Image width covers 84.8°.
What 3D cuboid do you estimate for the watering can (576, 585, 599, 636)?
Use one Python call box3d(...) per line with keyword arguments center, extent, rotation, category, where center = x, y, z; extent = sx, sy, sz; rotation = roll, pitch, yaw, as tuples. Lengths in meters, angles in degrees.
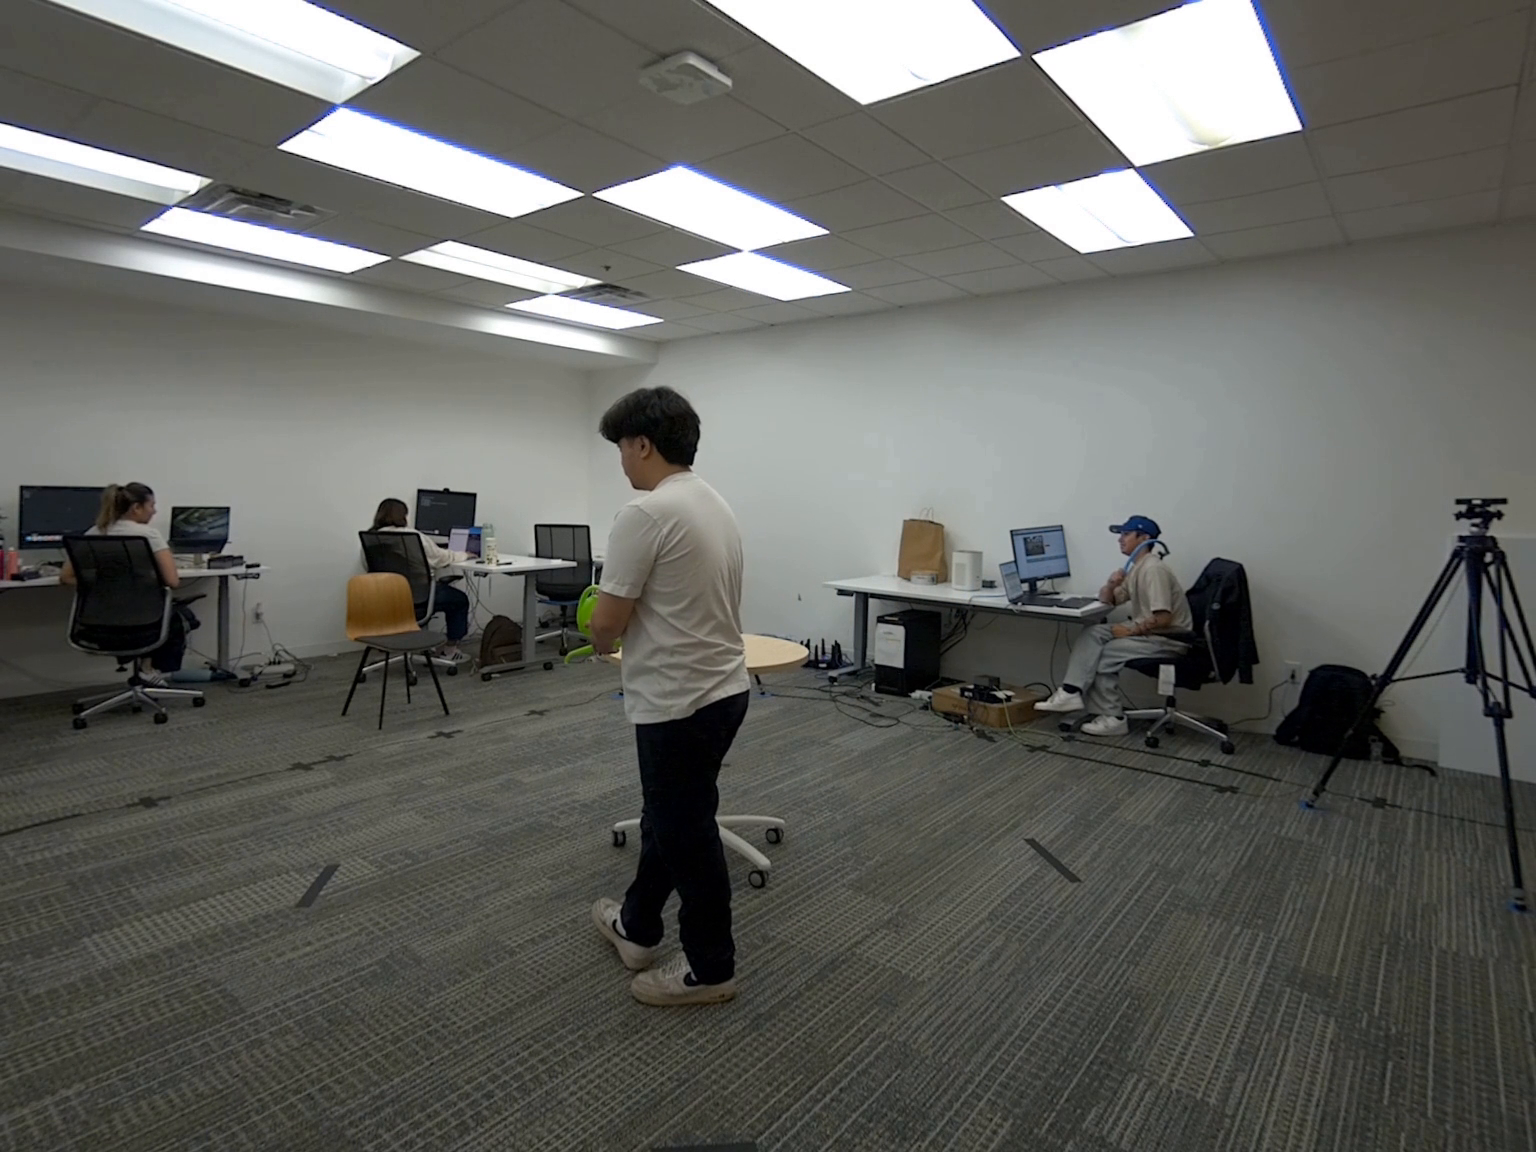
box3d(center=(-0.524, 0.170, 2.587), extent=(0.183, 0.274, 0.096), rotation=(28, 26, 29), category="watering can")
